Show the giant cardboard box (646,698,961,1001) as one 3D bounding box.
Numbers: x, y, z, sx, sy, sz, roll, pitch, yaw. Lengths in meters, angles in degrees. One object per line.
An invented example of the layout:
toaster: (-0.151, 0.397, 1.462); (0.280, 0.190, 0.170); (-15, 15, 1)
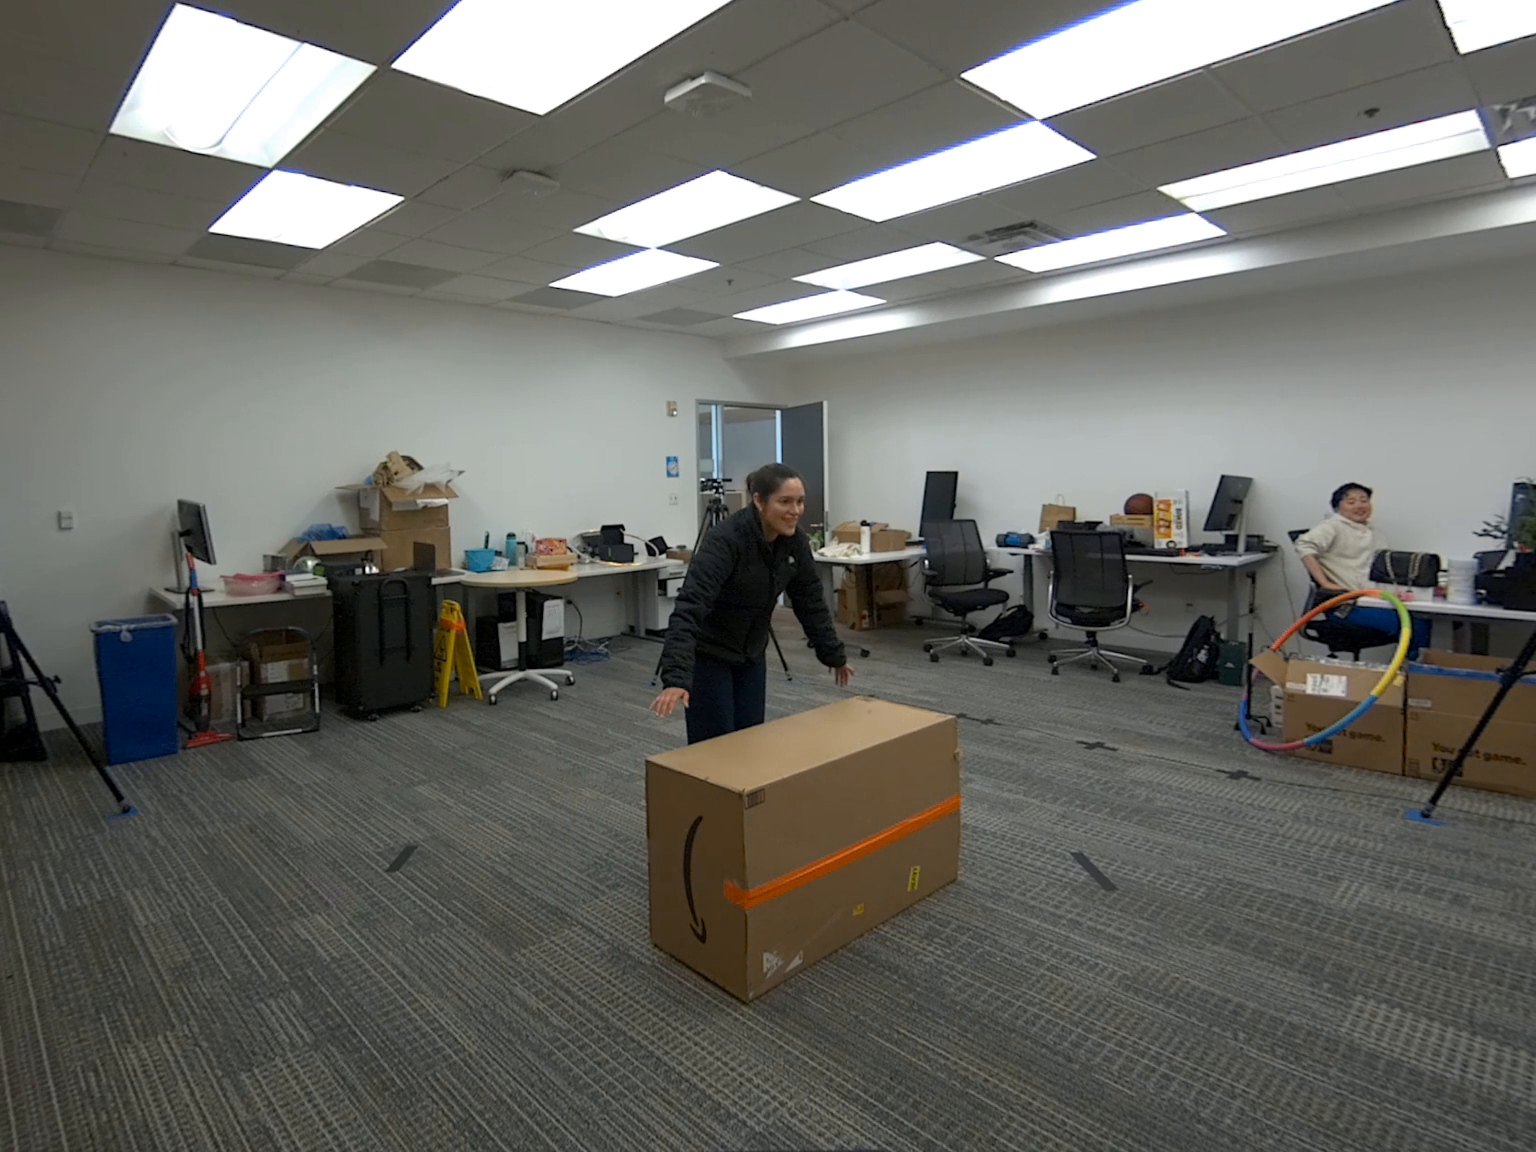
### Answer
giant cardboard box: (0.149, 0.794, 2.758); (1.000, 0.582, 0.460); (-7, 6, -43)
